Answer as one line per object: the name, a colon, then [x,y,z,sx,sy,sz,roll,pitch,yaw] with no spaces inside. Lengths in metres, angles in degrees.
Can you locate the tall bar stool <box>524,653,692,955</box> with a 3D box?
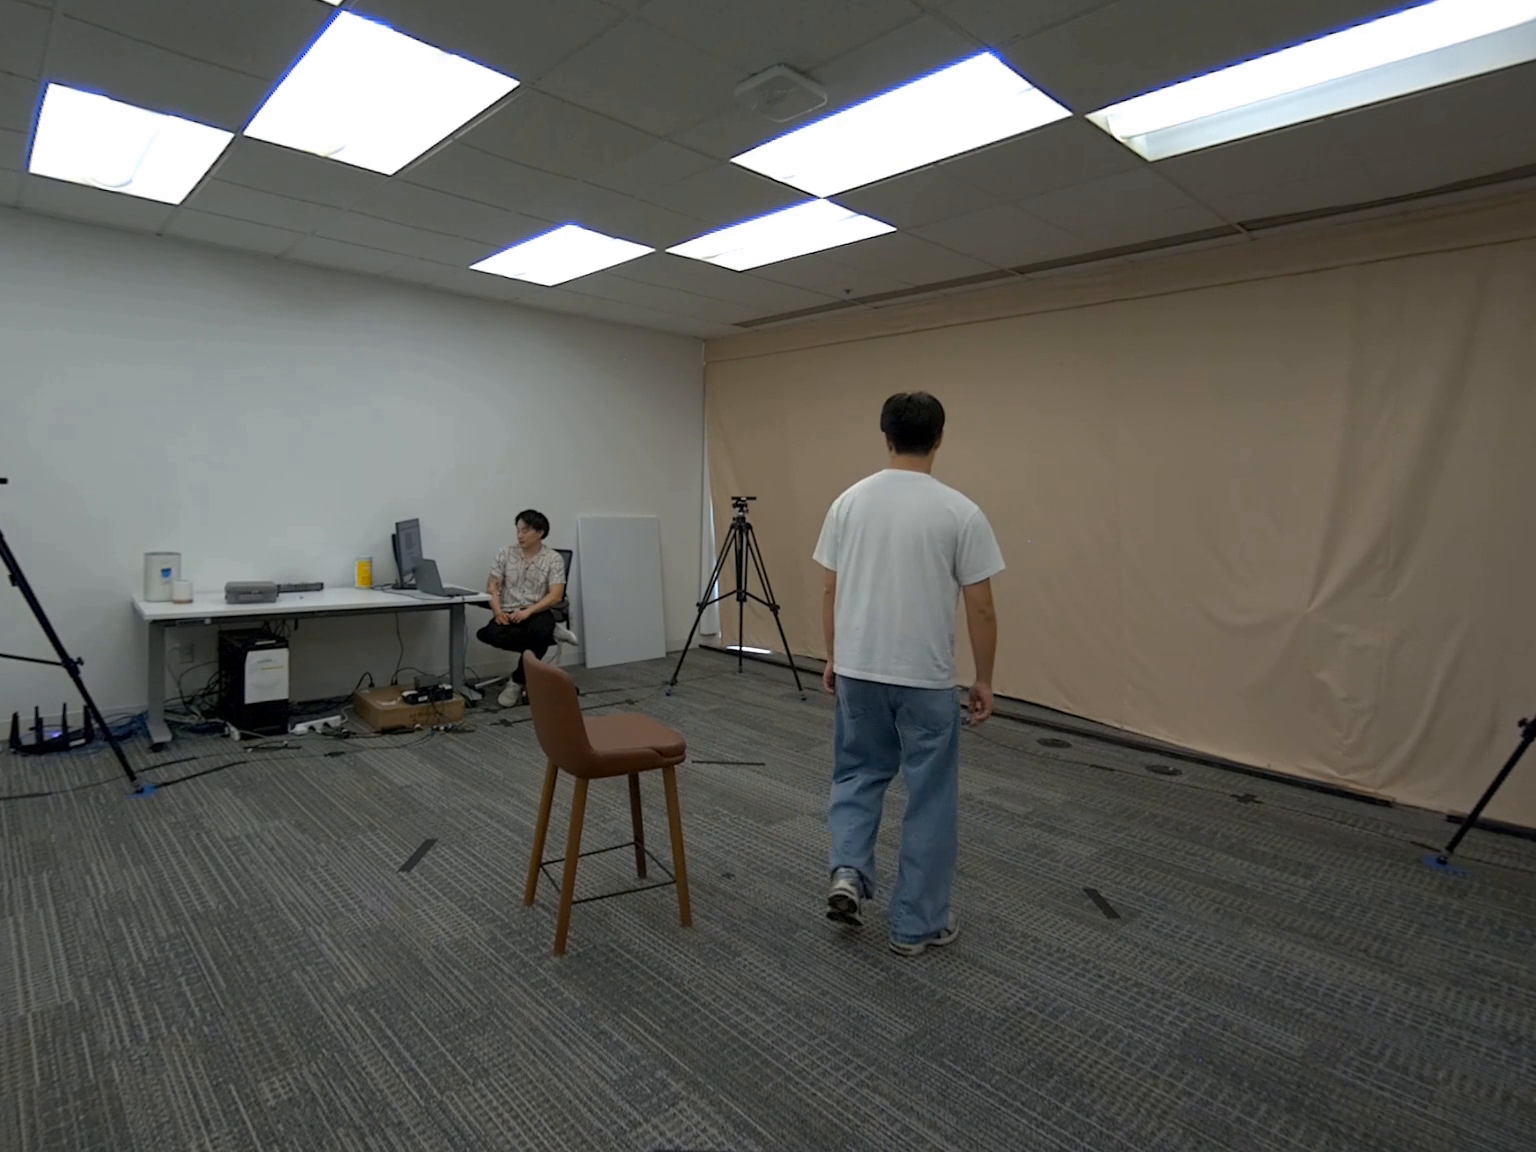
tall bar stool: [-0.540,0.691,2.778,0.458,0.887,0.467,-3,5,-30]
